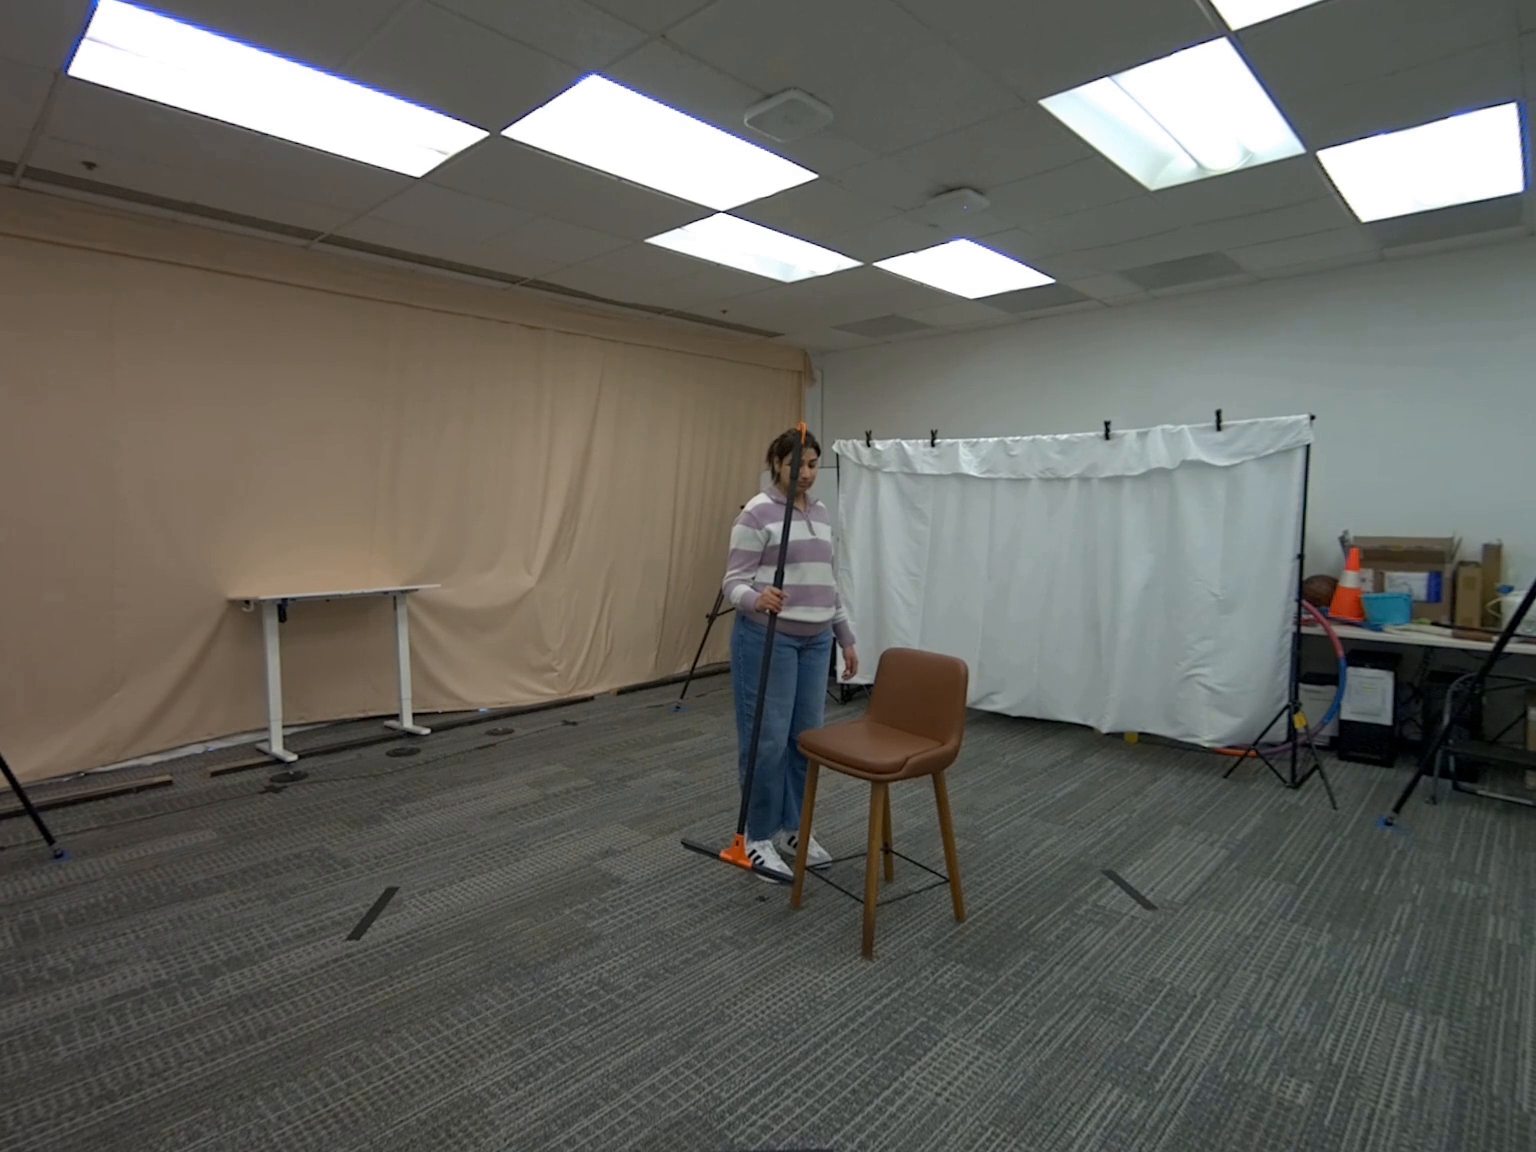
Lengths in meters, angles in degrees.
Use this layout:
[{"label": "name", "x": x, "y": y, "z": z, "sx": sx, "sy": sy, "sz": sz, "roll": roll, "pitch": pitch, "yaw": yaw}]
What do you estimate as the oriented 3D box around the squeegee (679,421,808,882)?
[{"label": "squeegee", "x": 0.014, "y": 0.256, "z": 2.867, "sx": 0.449, "sy": 1.536, "sz": 0.051, "roll": 7, "pitch": 2, "yaw": 24}]
